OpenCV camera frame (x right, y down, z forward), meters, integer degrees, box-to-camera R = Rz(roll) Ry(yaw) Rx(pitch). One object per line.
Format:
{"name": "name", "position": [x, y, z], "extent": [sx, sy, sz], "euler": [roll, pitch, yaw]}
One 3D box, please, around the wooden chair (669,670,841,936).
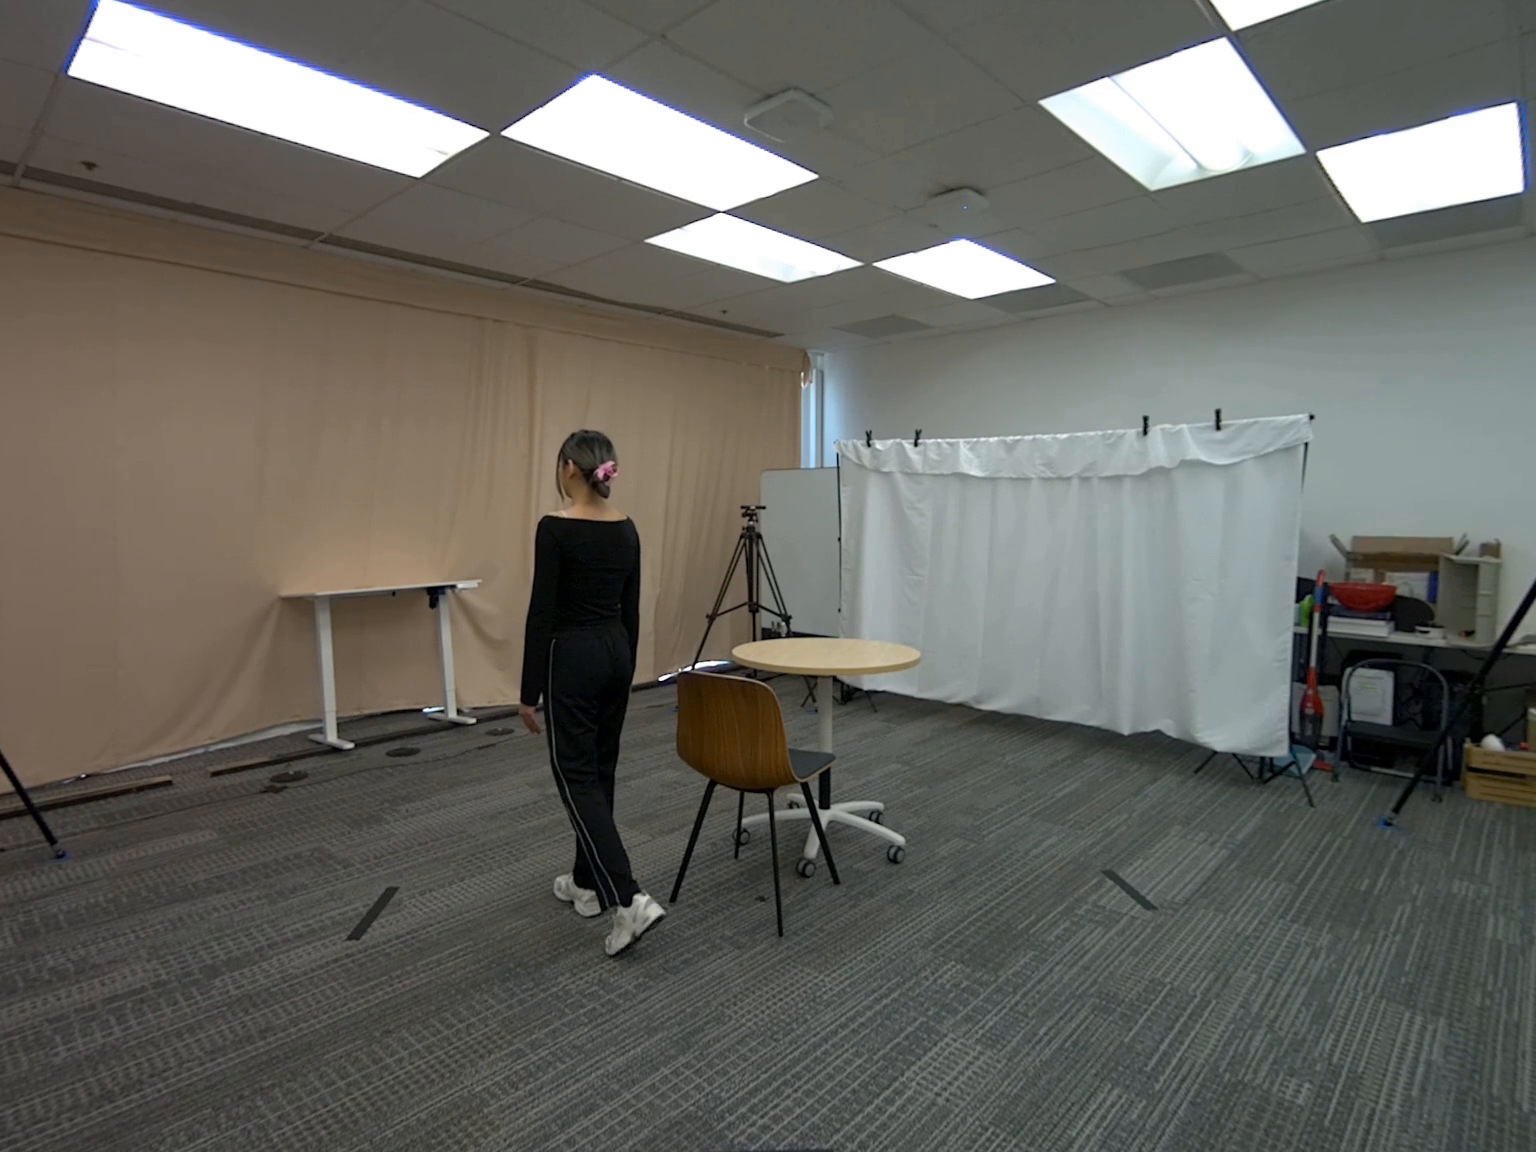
{"name": "wooden chair", "position": [-0.035, 0.715, 3.001], "extent": [0.492, 0.873, 0.510], "euler": [2, 9, 31]}
